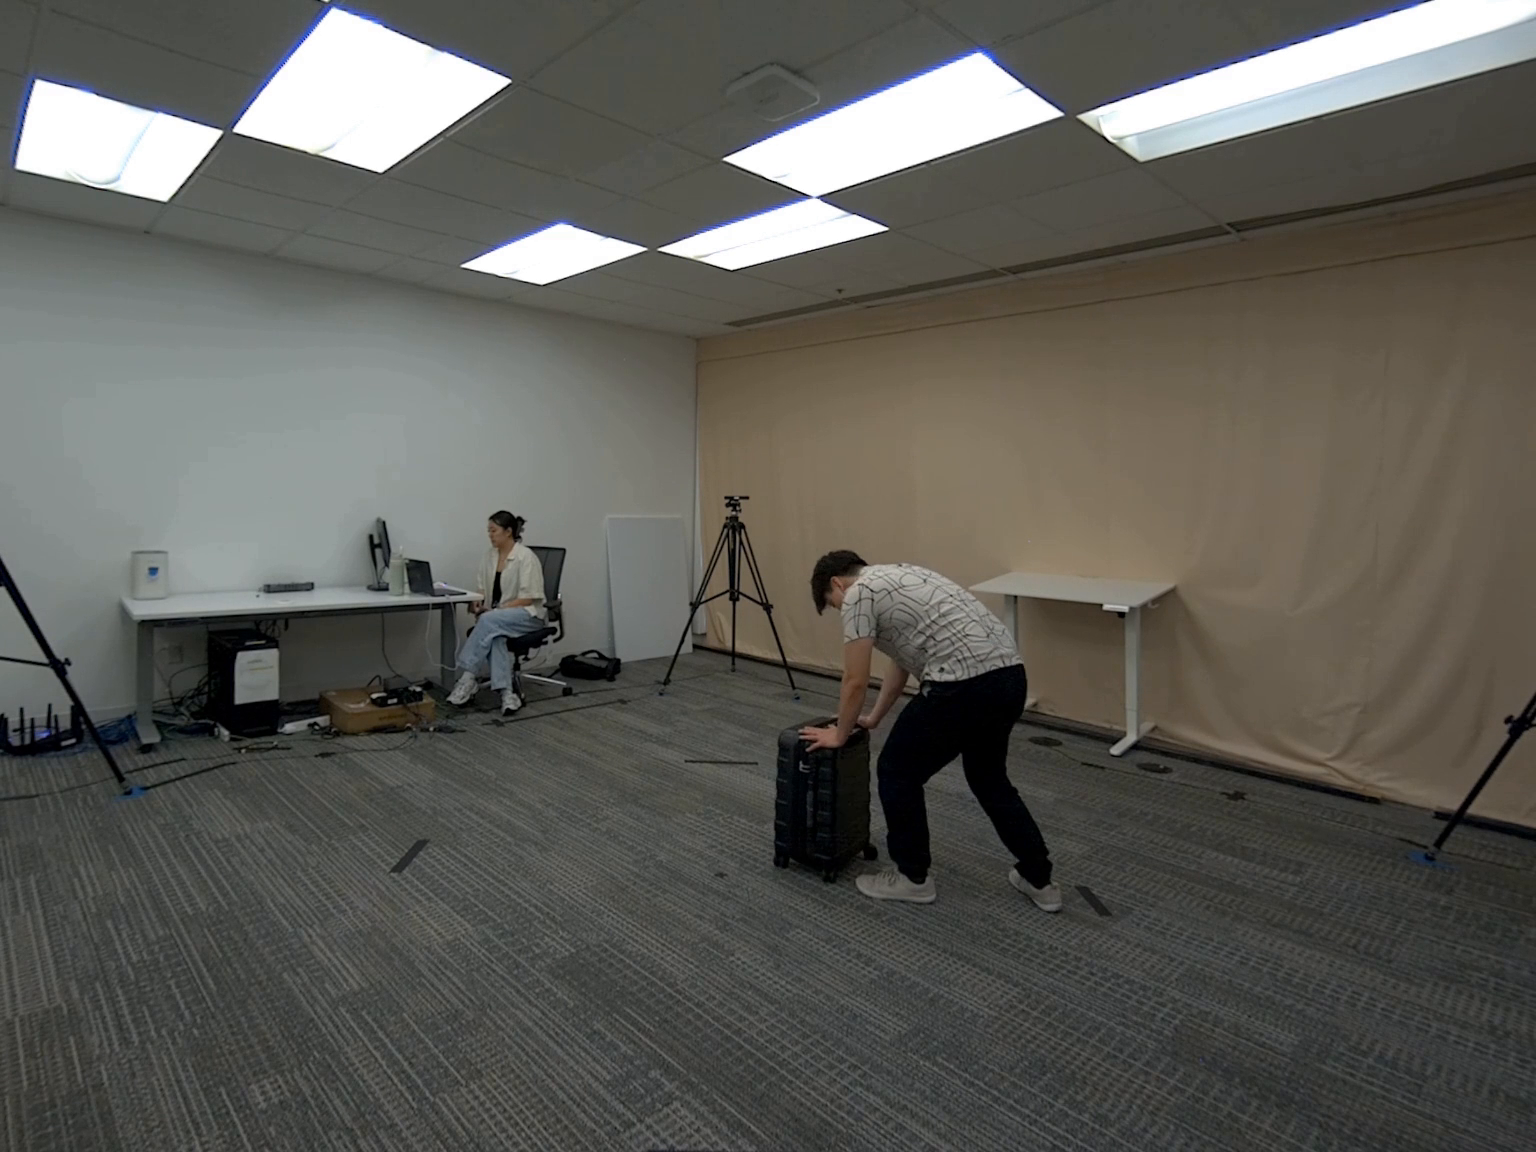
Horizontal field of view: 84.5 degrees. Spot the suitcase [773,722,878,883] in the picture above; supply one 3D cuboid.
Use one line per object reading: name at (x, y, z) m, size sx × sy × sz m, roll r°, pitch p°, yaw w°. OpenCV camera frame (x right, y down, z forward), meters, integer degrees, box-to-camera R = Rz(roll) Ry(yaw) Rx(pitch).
suitcase at (0.209, 0.826, 3.219) m, size 0.254 × 0.548 × 0.368 m, roll 3°, pitch 5°, yaw 36°
